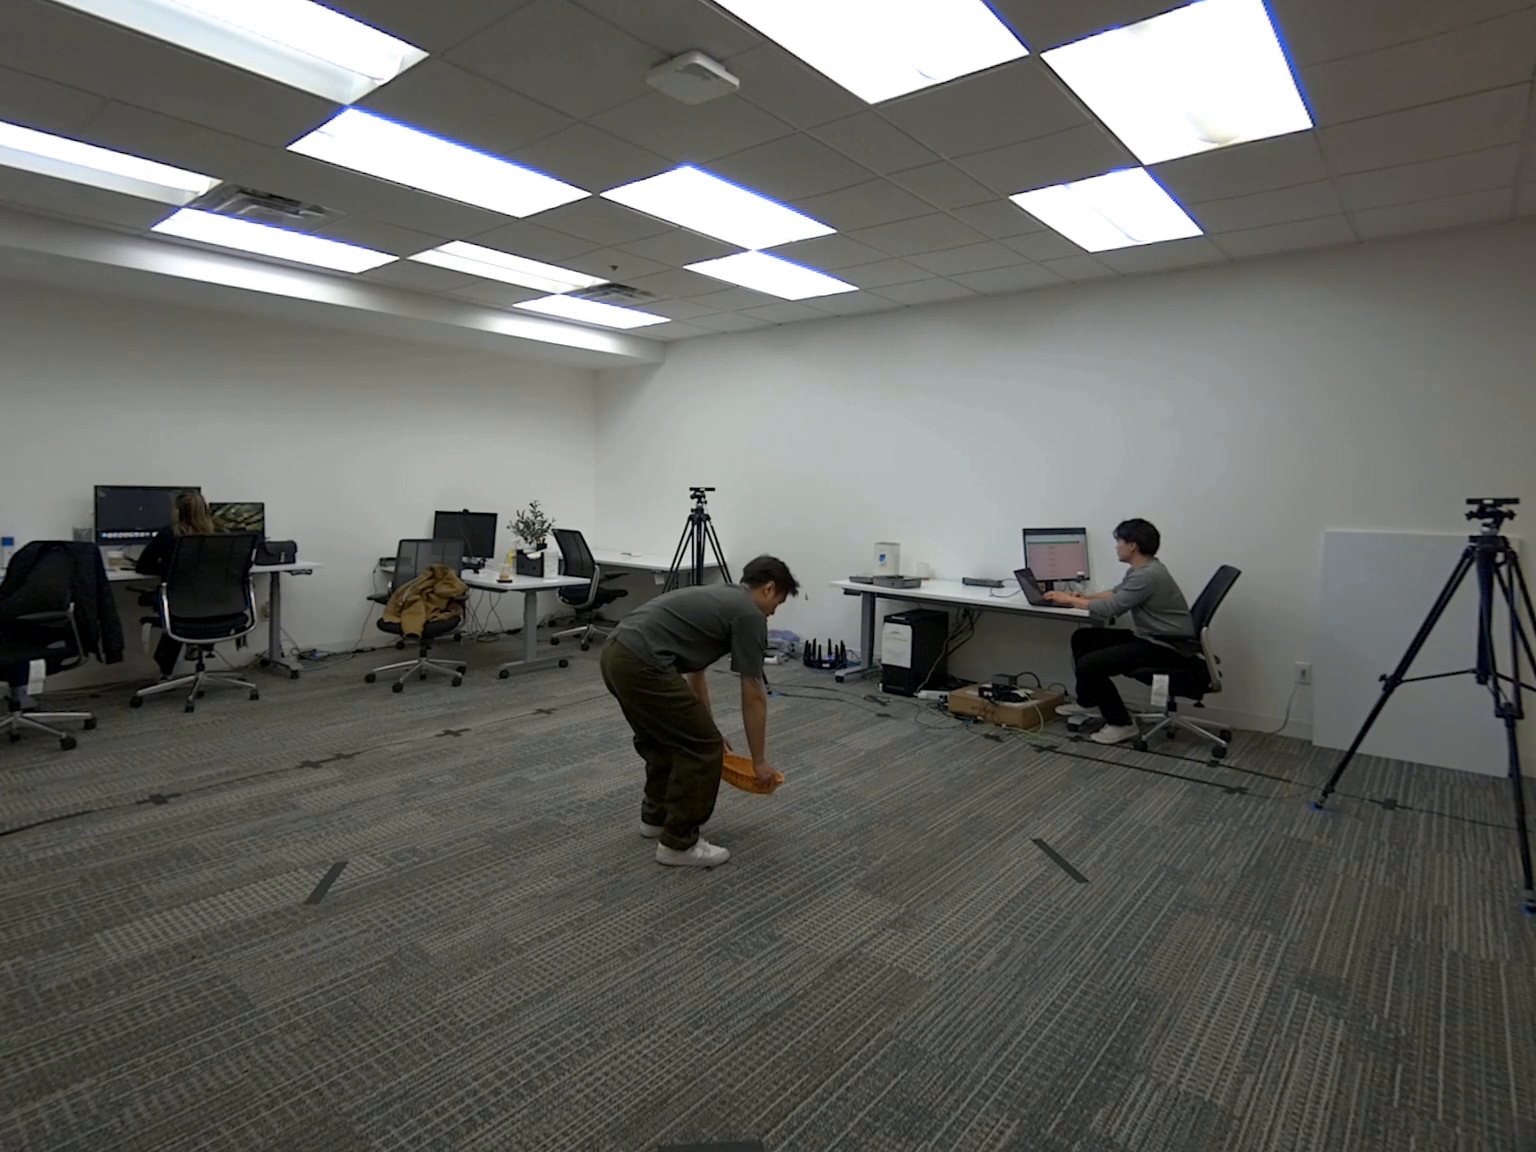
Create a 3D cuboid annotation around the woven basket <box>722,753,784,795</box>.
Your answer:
[{"bbox_3d":[-0.100,0.798,3.410,0.245,0.073,0.361,13,-1,-29],"label":"woven basket"}]
